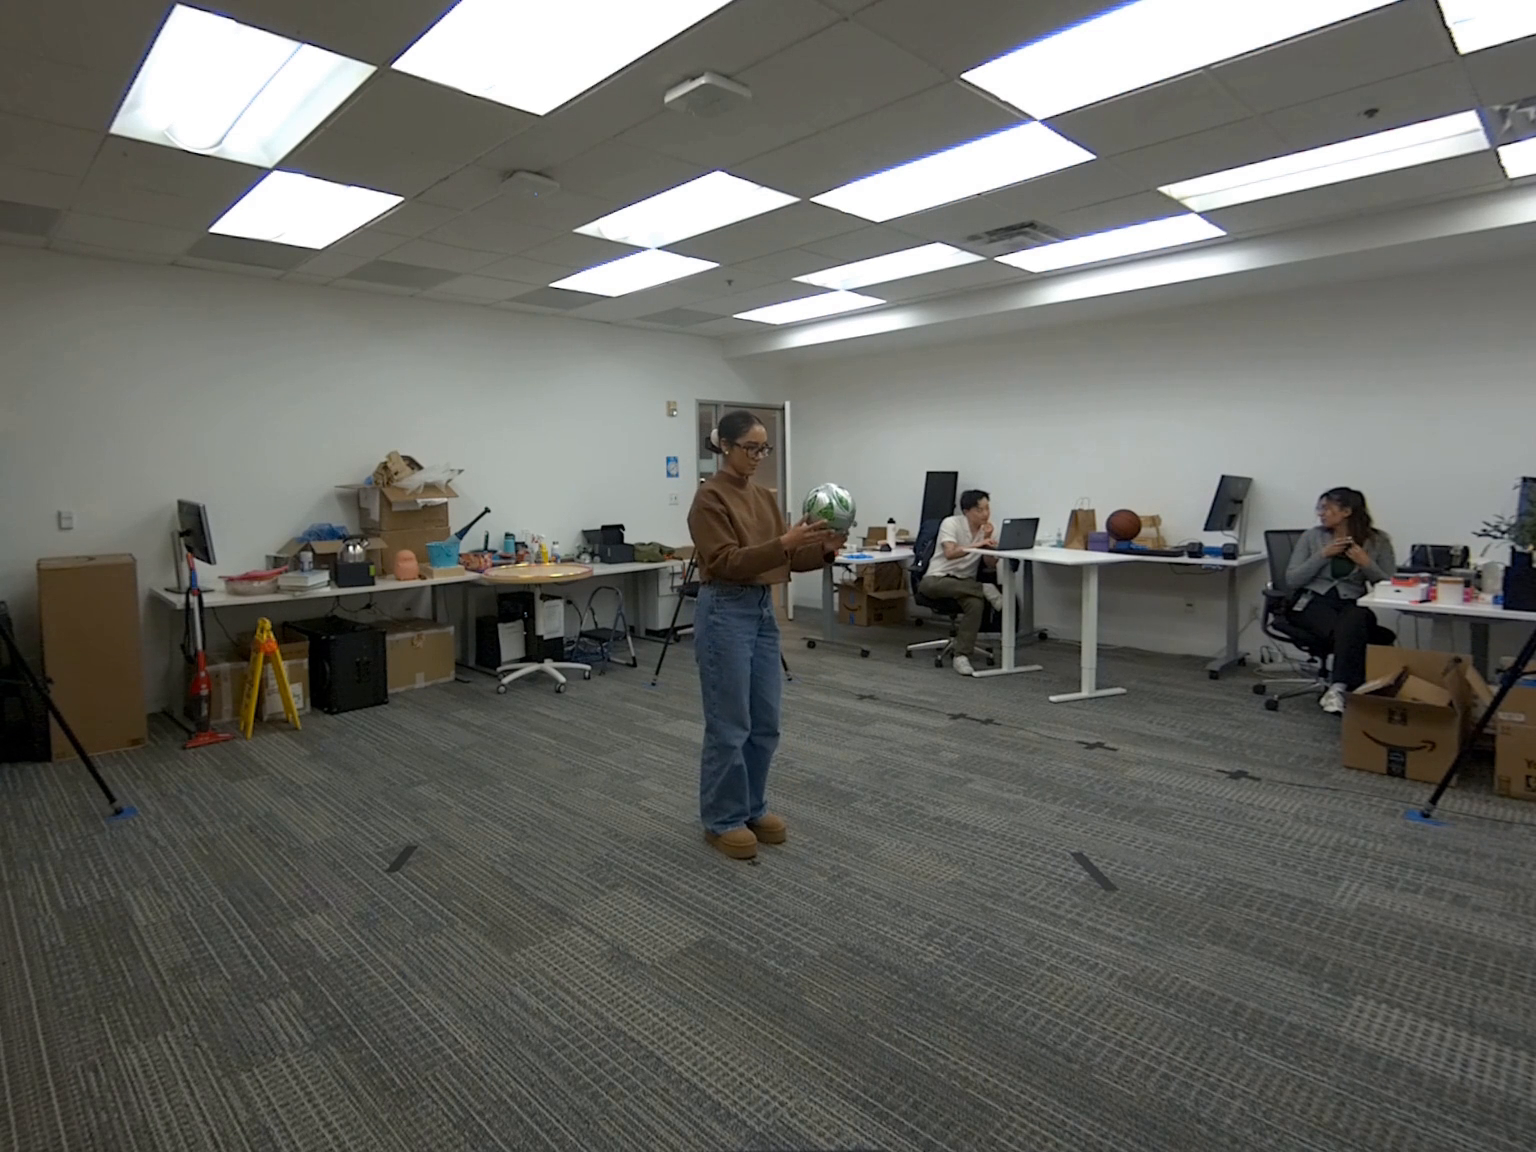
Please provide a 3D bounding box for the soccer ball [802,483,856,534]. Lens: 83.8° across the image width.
[{"bbox_3d":[0.220,-0.233,3.017,0.187,0.187,0.188,-1,5,-2],"label":"soccer ball"}]
